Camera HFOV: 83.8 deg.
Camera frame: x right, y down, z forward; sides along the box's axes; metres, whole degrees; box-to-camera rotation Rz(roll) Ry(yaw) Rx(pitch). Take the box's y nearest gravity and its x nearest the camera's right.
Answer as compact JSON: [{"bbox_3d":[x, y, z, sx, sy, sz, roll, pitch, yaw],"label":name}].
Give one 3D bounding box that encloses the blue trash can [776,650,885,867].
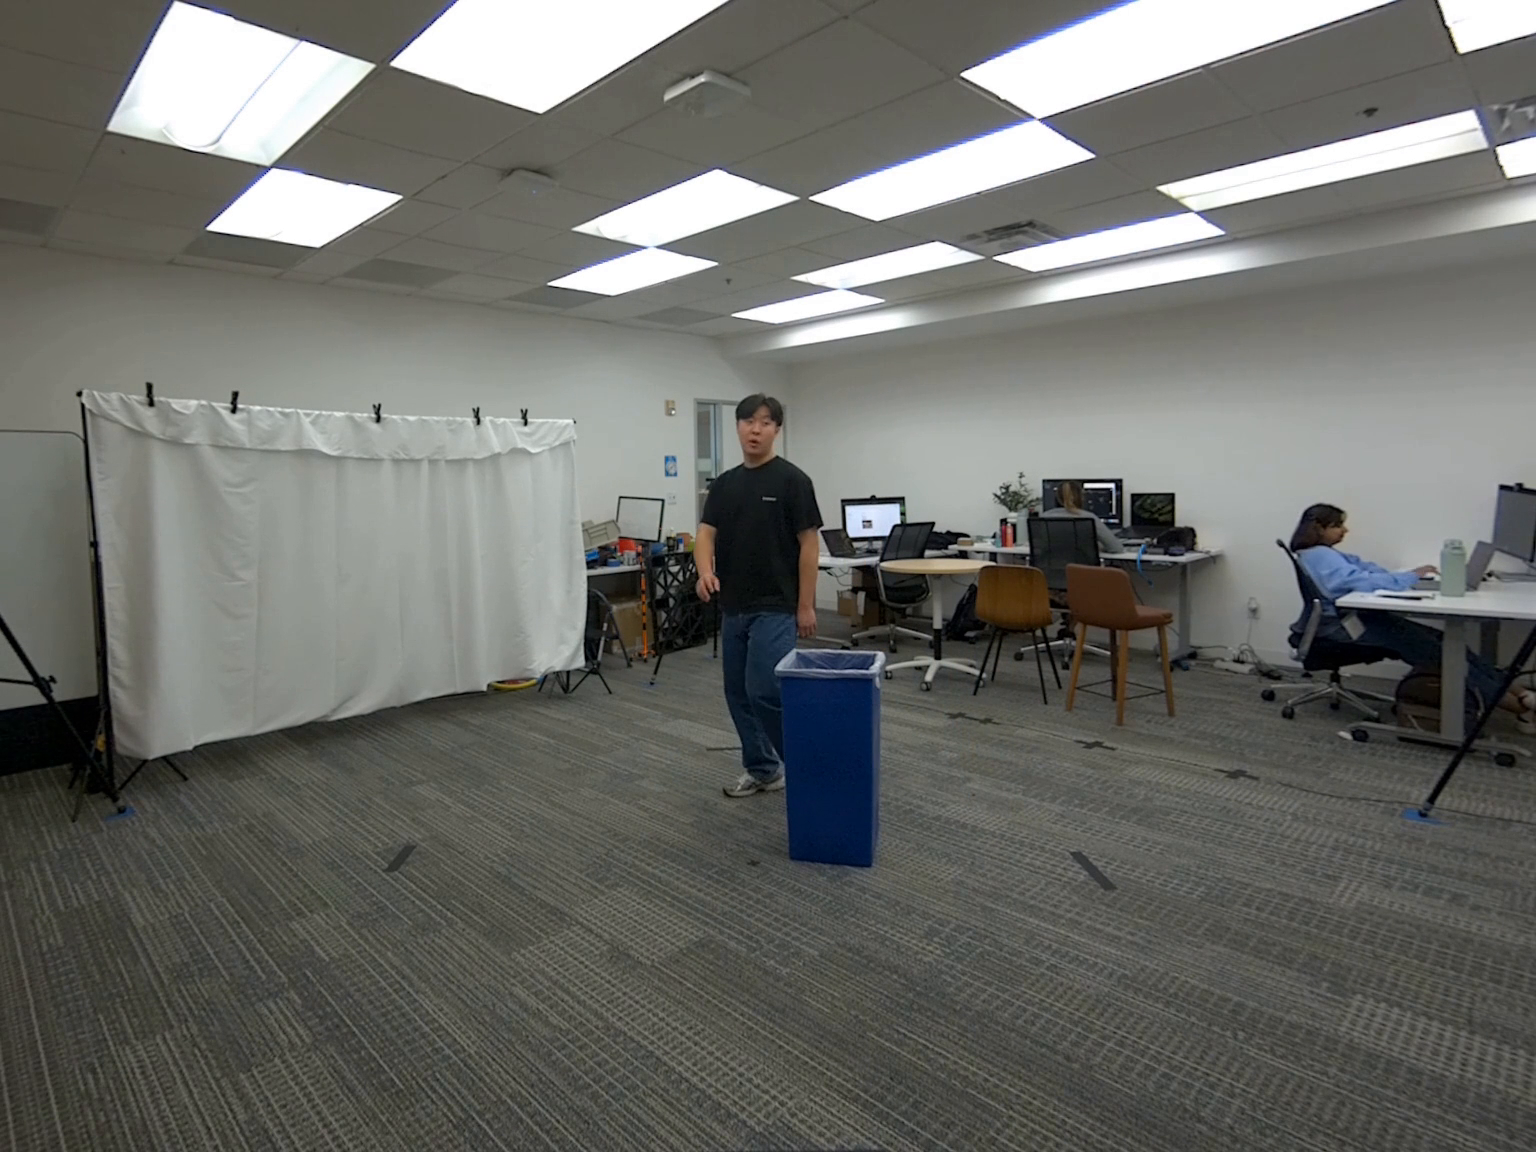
[{"bbox_3d":[0.255,0.666,3.213,0.379,0.711,0.374,-2,4,14],"label":"blue trash can"}]
